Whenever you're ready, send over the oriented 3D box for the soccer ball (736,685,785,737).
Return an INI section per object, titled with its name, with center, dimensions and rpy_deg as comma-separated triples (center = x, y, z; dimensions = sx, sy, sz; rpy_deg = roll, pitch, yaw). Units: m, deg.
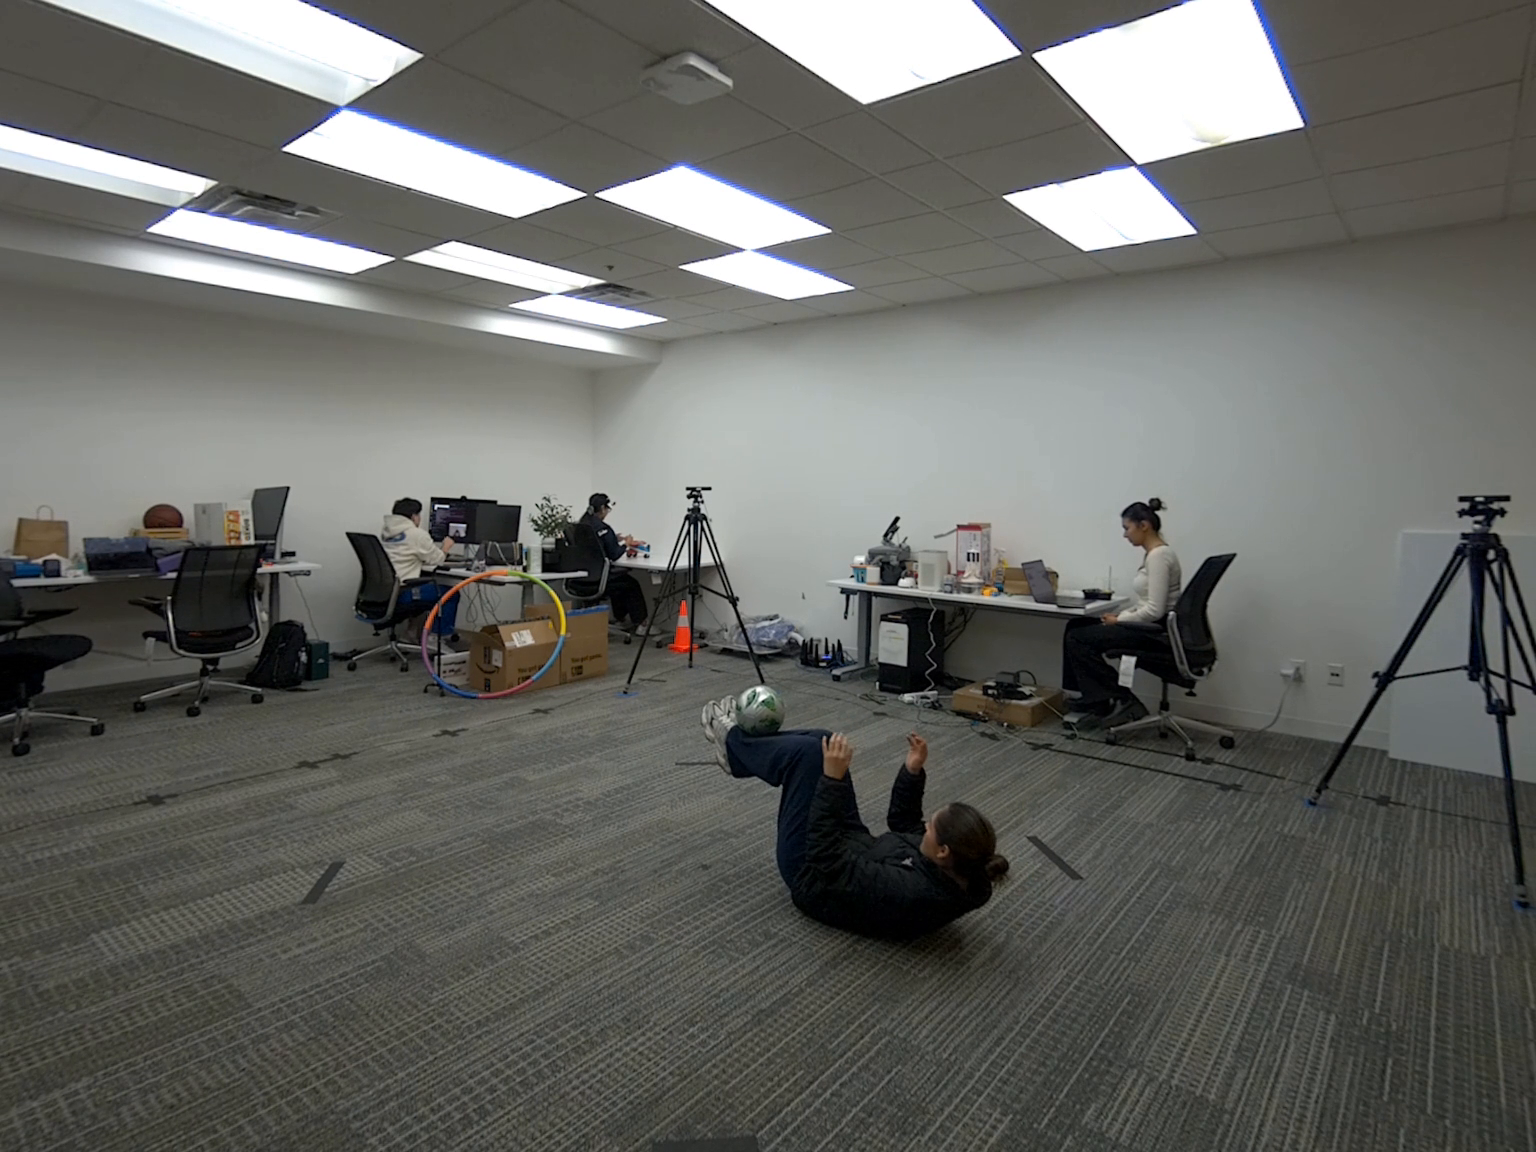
[soccer ball]
center = -0.043, 0.495, 3.140
dimensions = 0.187, 0.187, 0.188
rpy_deg = -3, 3, -2
